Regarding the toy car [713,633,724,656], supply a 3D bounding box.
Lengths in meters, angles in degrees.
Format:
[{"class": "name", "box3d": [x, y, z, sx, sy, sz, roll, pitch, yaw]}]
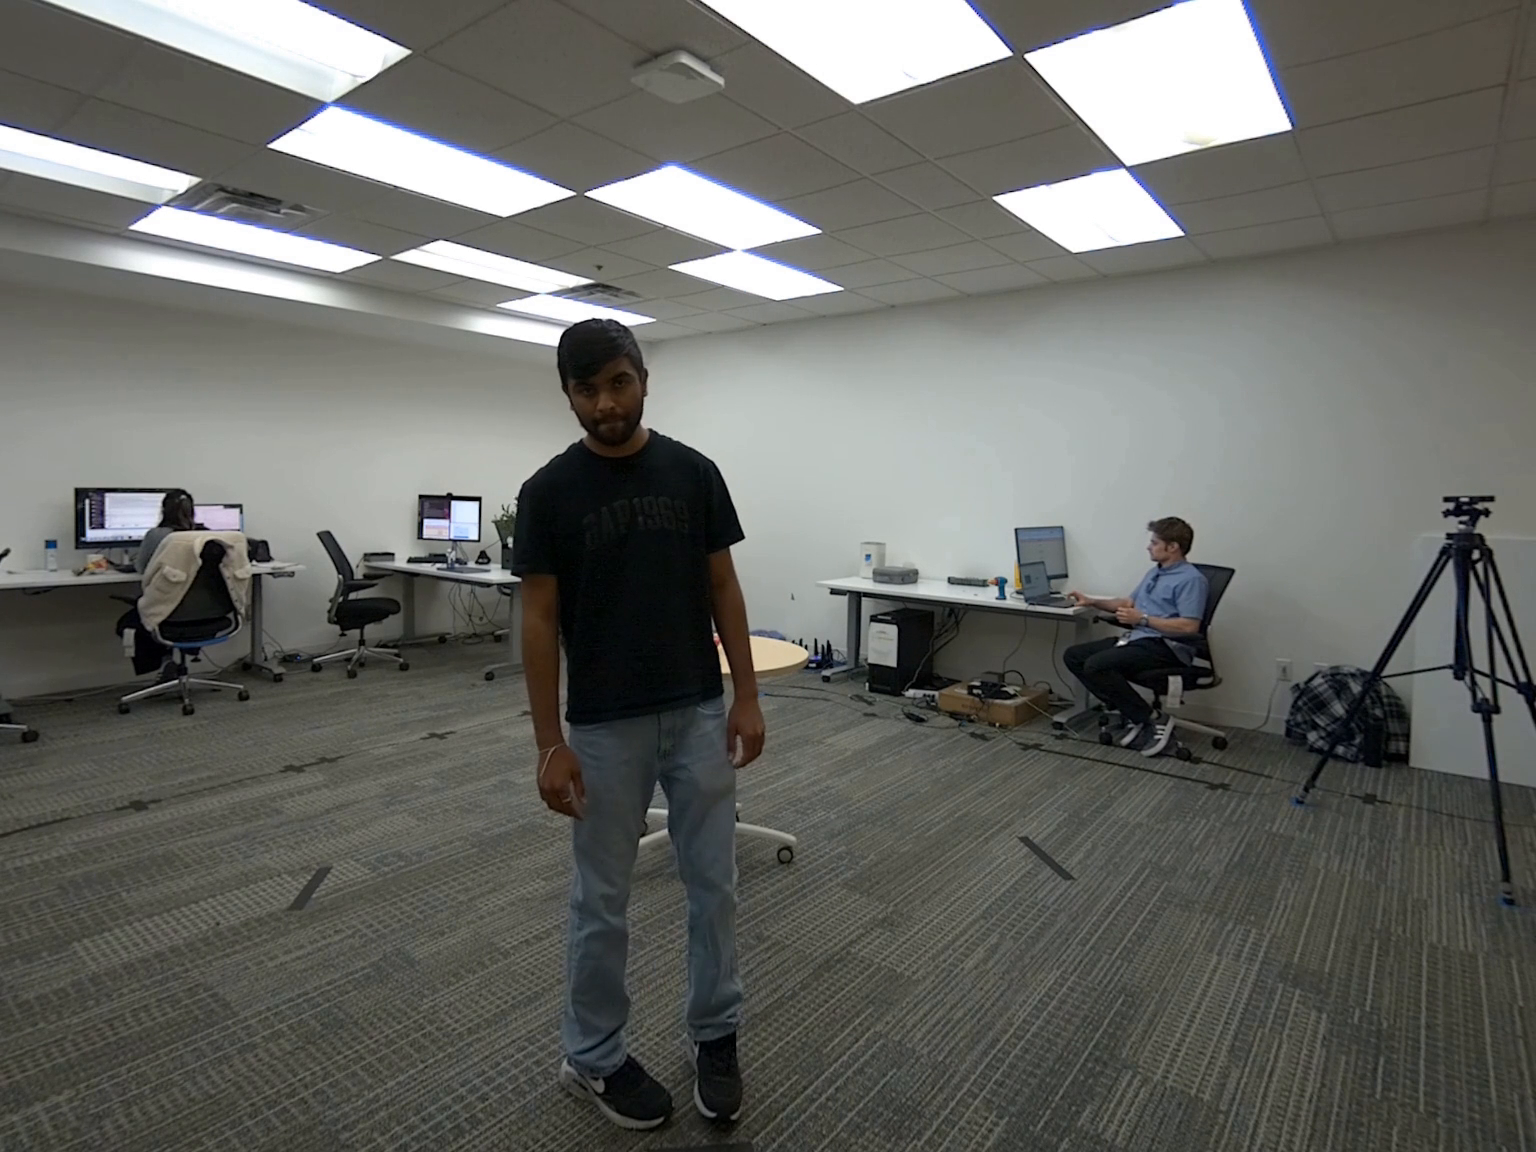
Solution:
[{"class": "toy car", "box3d": [-0.293, 0.245, 3.163, 0.256, 0.083, 0.130, -10, 4, 5]}]
